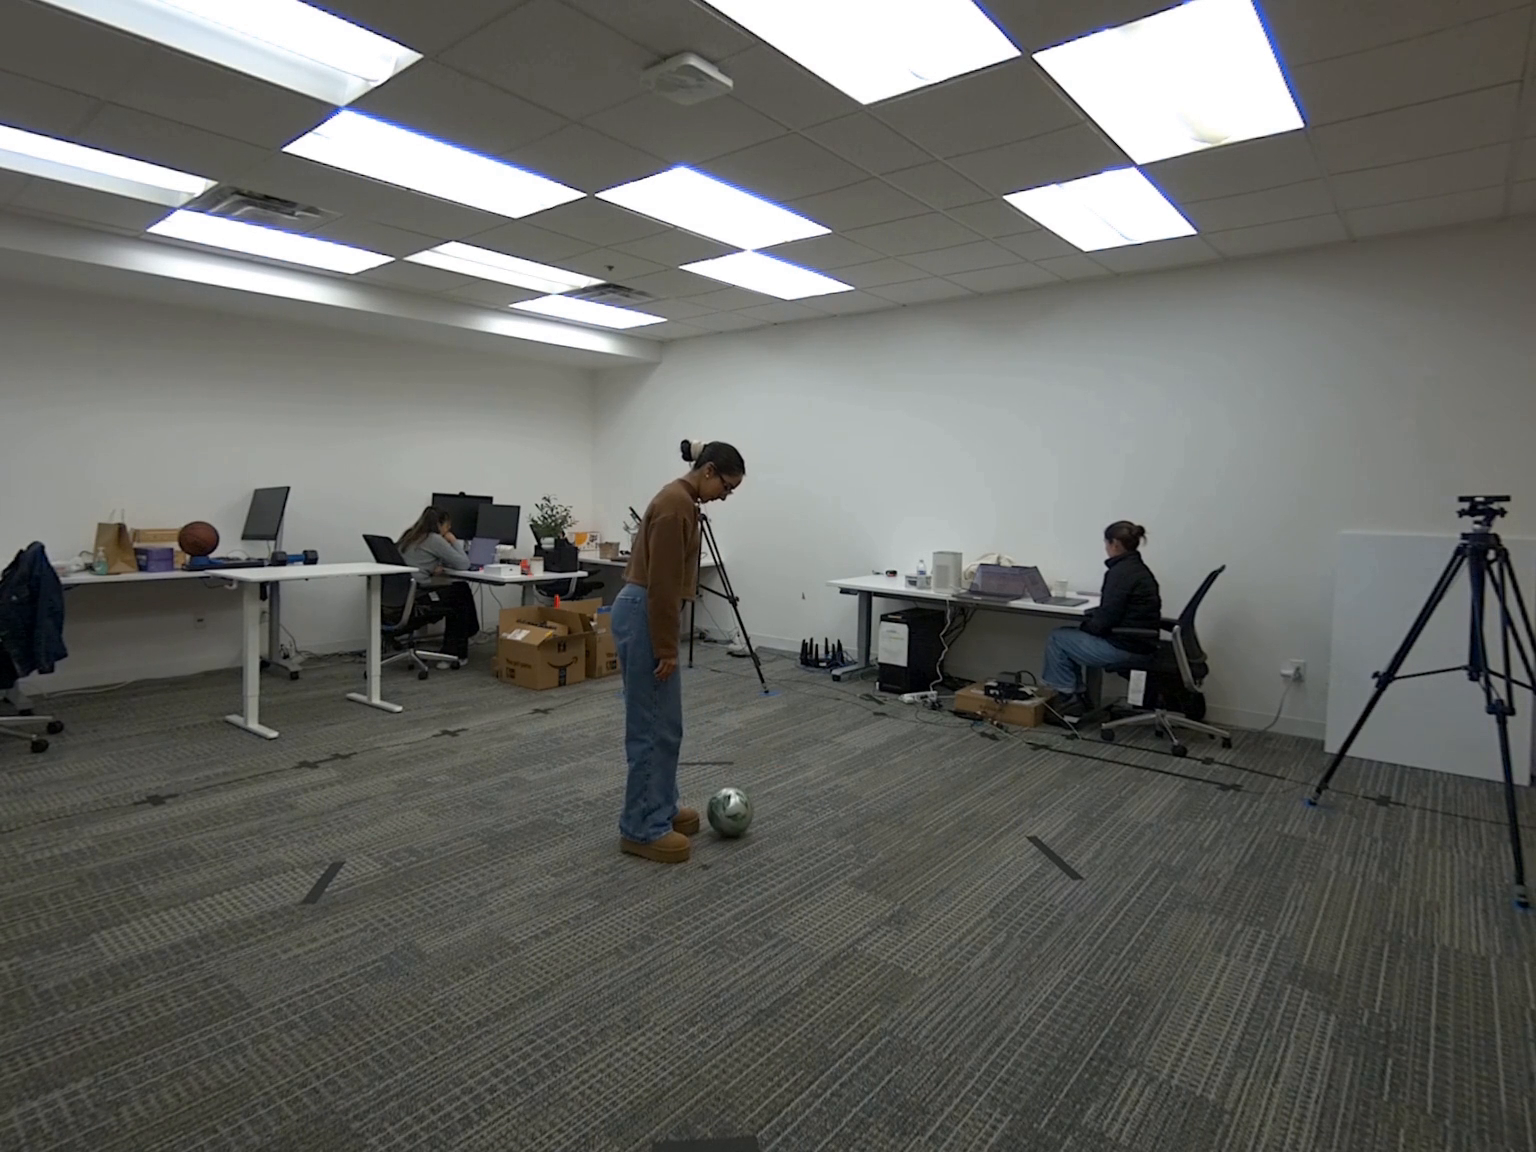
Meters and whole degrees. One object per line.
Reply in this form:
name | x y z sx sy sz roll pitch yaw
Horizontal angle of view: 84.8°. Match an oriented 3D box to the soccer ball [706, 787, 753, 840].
soccer ball | -0.161 0.946 3.401 0.187 0.187 0.188 1 4 -2
